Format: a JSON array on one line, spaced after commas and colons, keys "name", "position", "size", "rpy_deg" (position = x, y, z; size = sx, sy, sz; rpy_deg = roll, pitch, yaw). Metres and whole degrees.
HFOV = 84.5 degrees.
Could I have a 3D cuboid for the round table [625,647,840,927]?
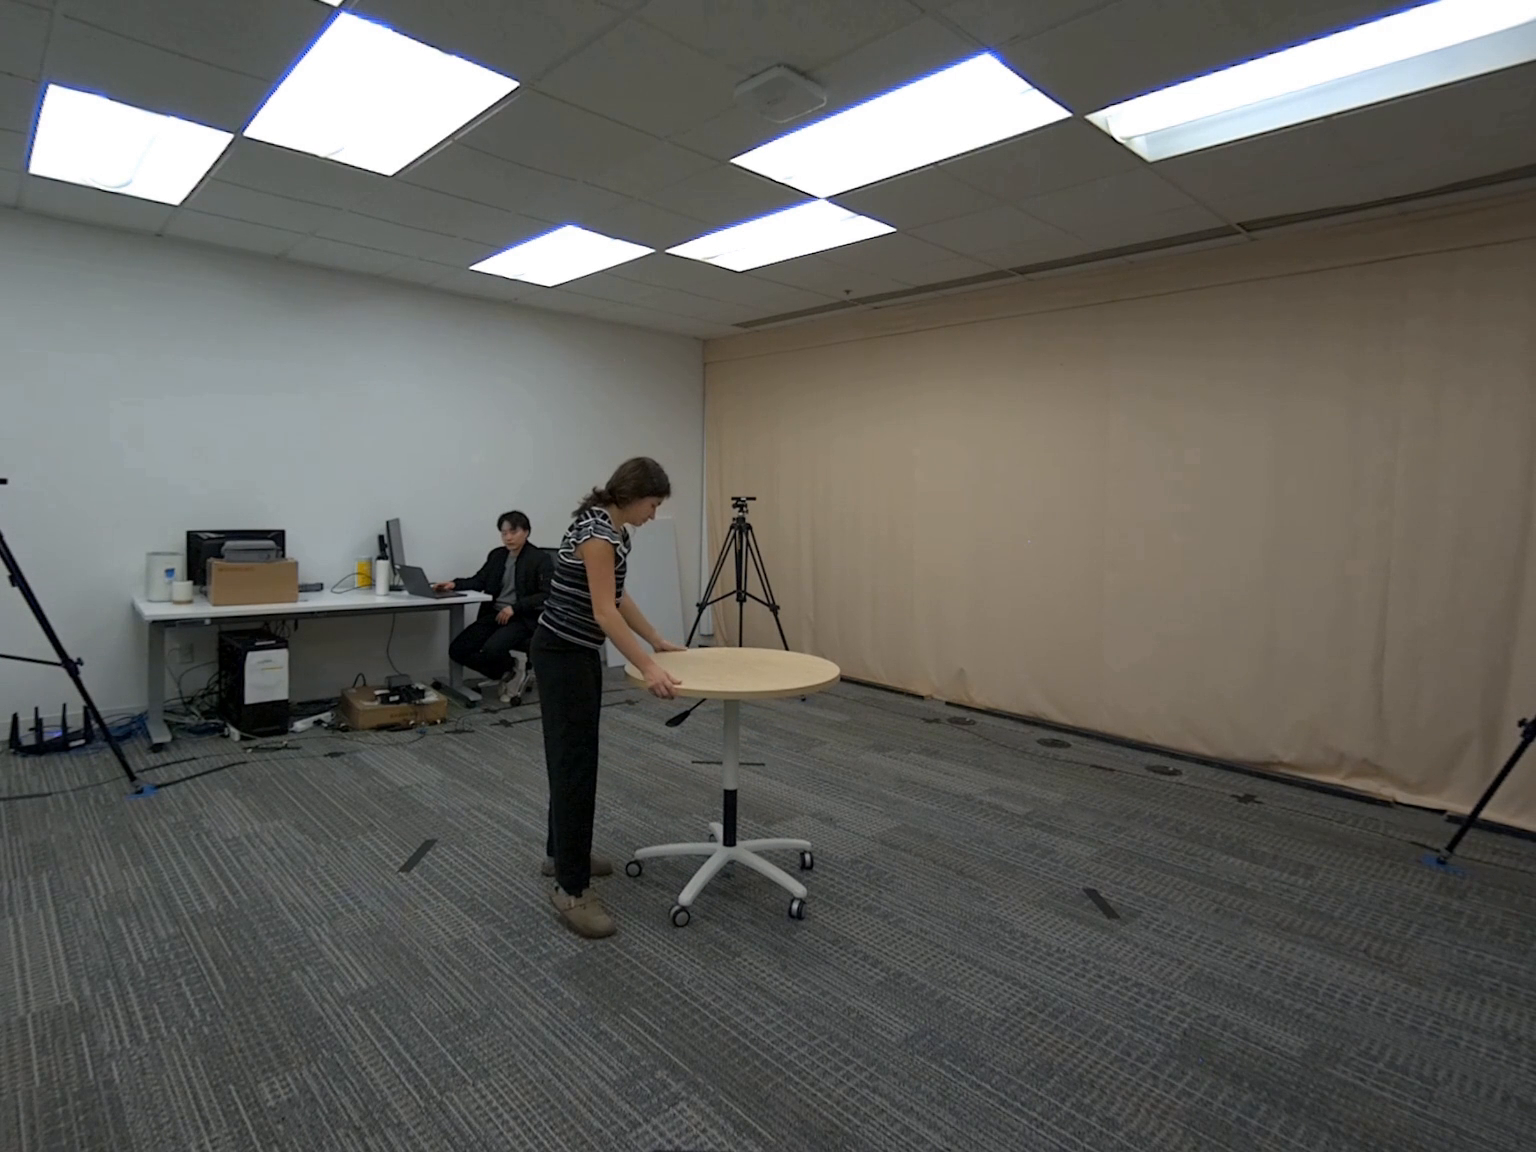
[{"name": "round table", "position": [-0.152, 0.716, 3.029], "size": [0.784, 0.784, 0.788], "rpy_deg": [1, 4, -1]}]
